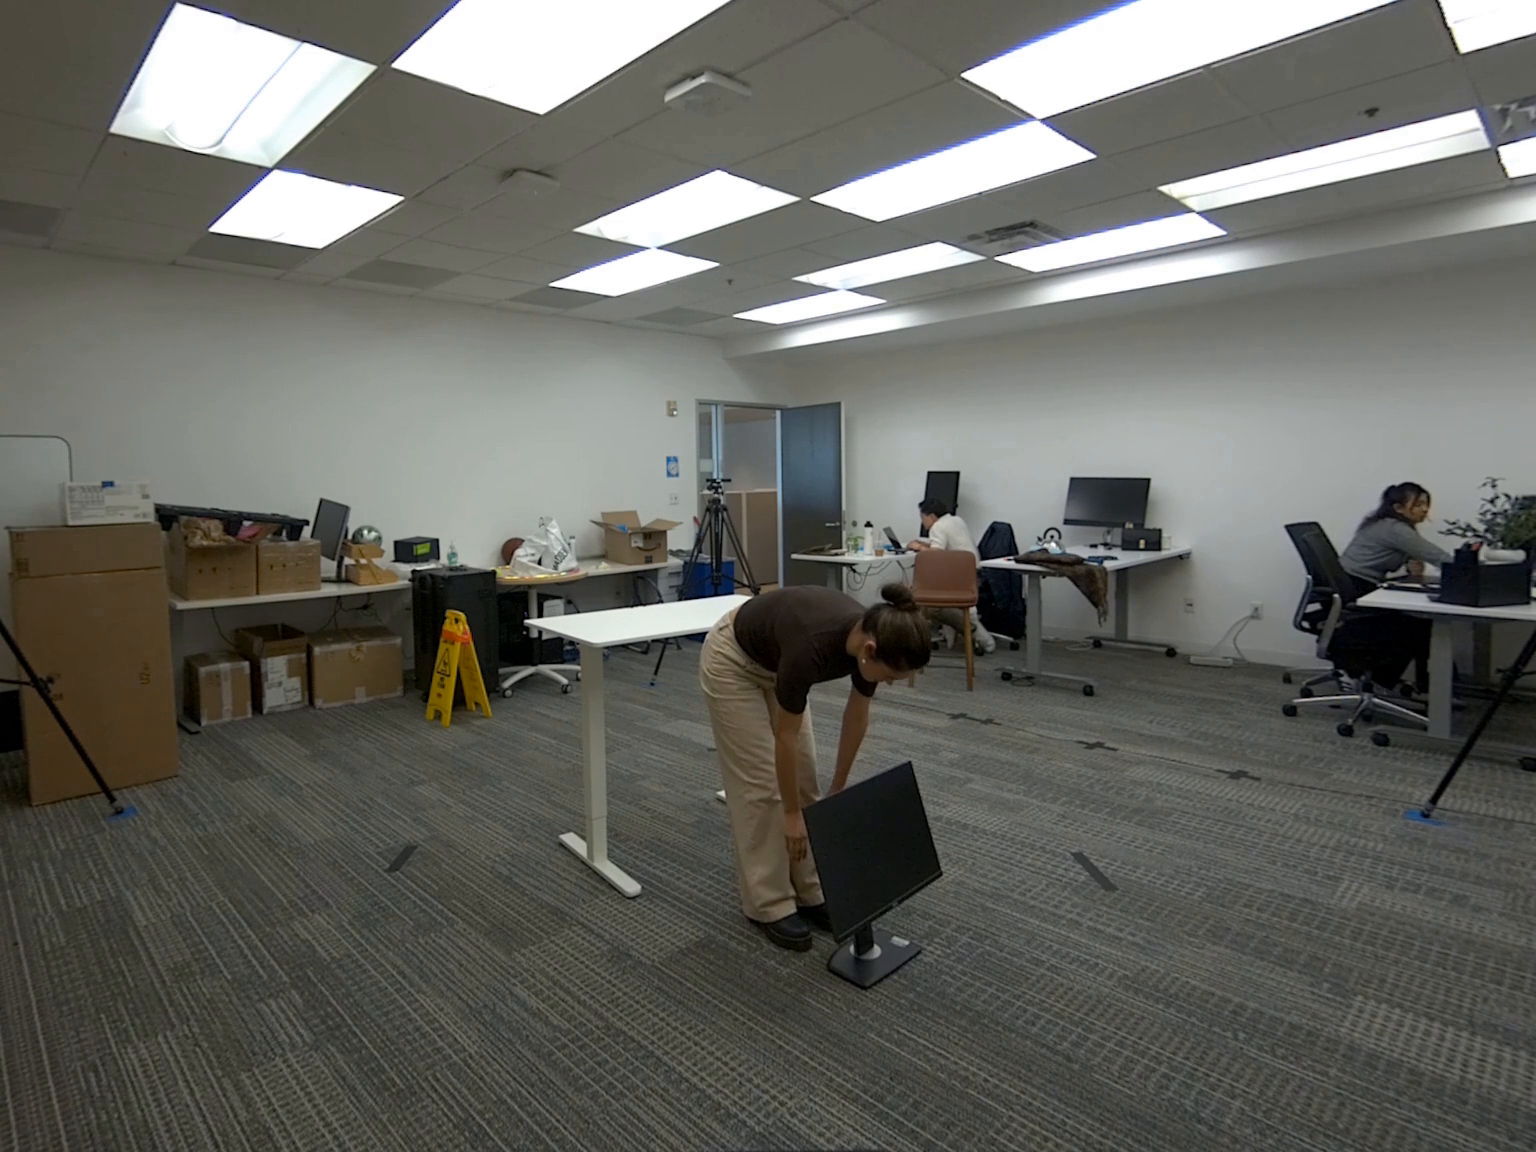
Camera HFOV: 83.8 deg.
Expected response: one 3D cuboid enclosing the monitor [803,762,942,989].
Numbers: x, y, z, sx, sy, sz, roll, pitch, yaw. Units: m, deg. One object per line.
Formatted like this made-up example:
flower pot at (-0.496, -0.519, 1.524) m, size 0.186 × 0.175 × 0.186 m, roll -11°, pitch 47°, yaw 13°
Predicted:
monitor at (0.294, 0.858, 2.467) m, size 0.192 × 0.521 × 0.525 m, roll -1°, pitch 3°, yaw 40°
